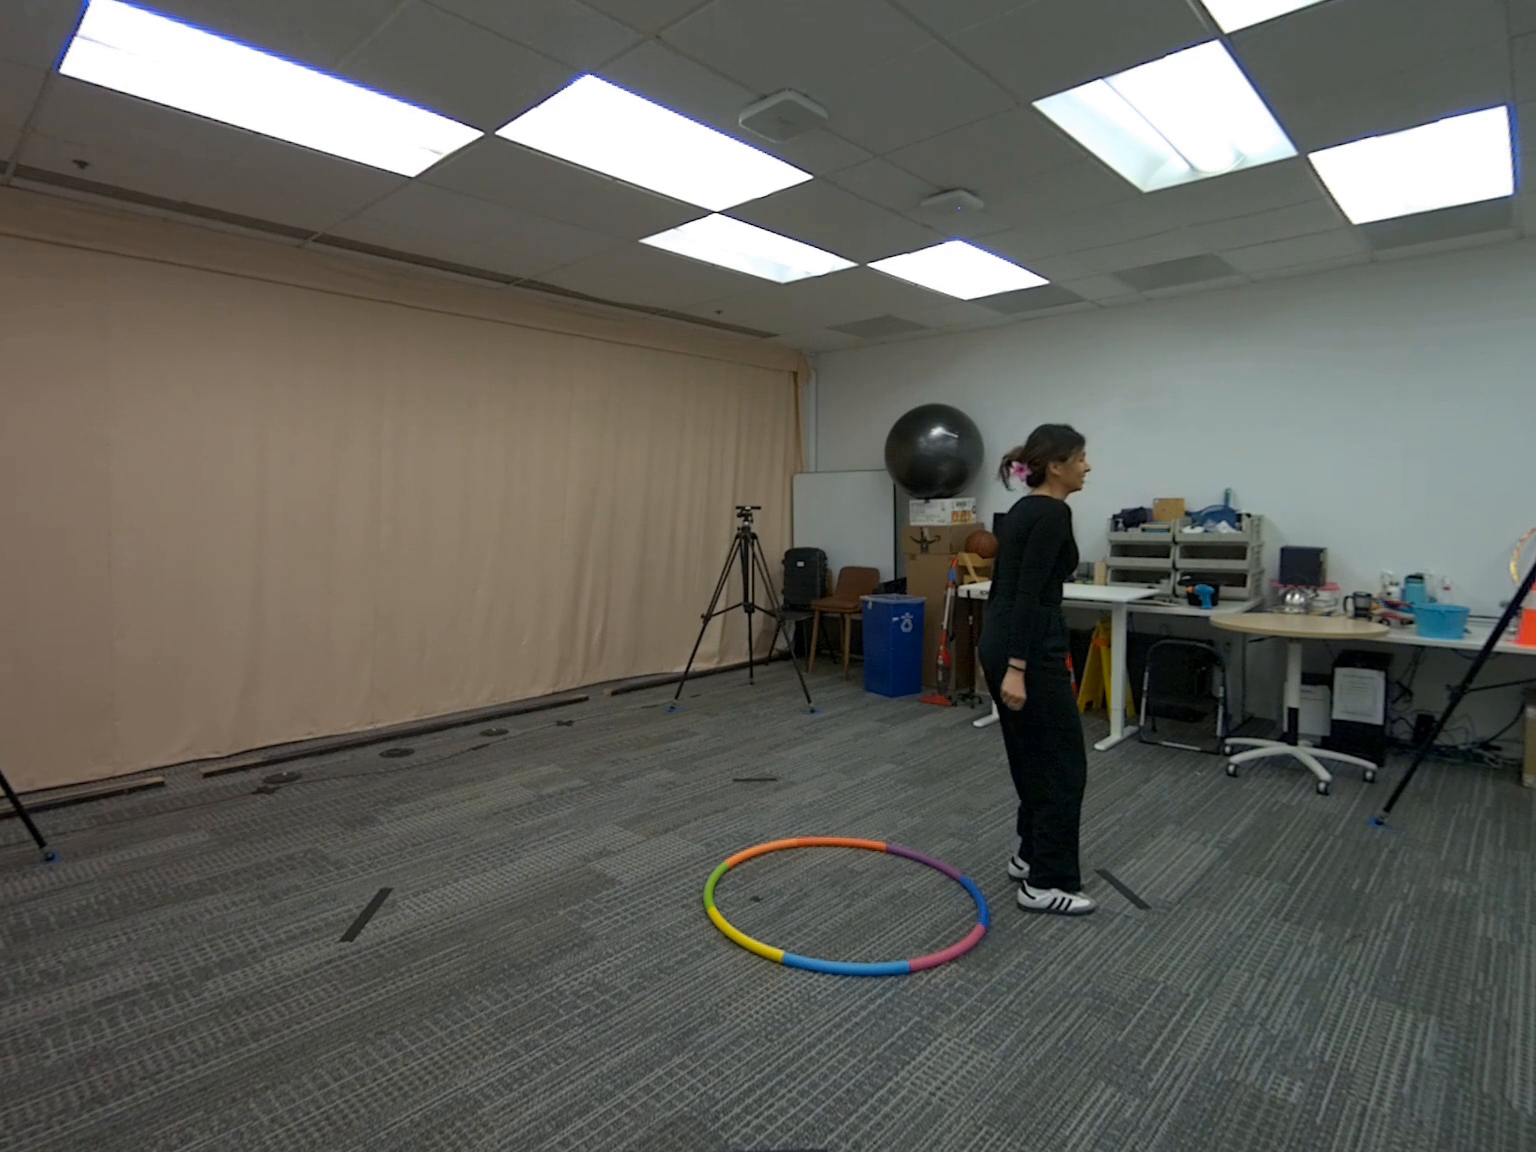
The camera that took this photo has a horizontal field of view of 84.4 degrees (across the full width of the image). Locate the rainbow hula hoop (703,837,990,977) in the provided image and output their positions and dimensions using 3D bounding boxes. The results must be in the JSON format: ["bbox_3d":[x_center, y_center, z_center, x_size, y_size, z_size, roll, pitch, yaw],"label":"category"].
[{"bbox_3d":[0.266,1.115,2.970,0.978,0.035,0.982,0,5,-2],"label":"rainbow hula hoop"}]
